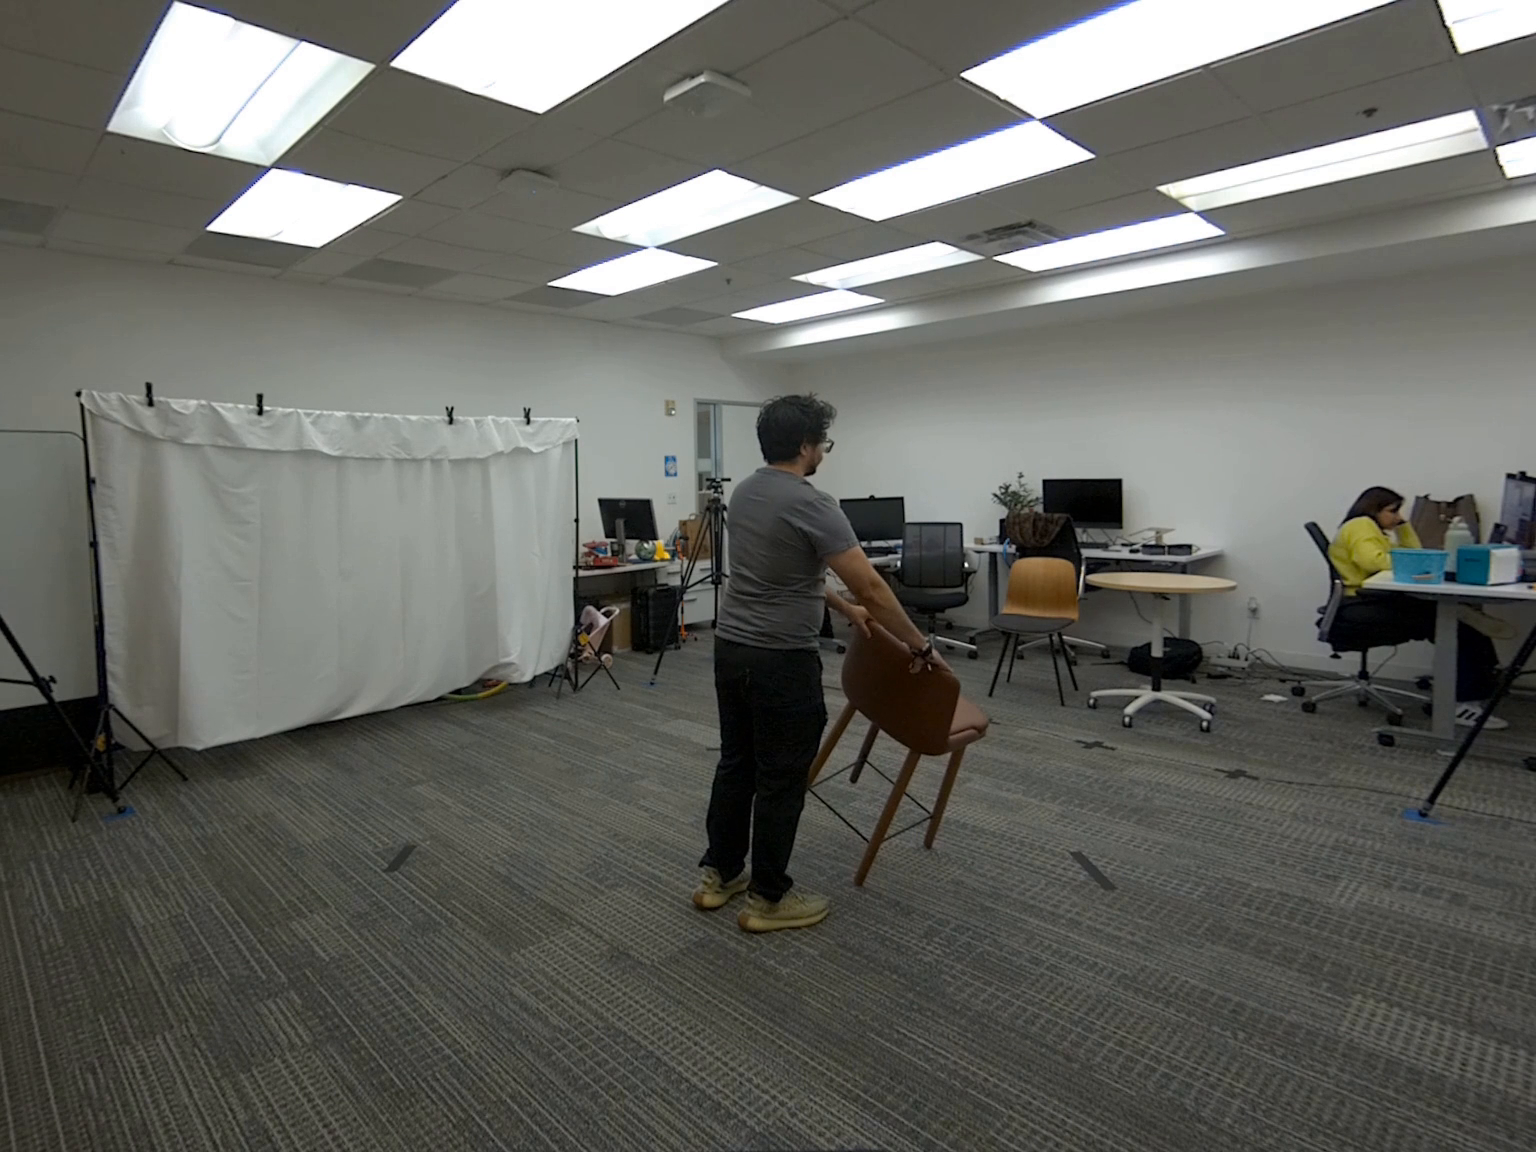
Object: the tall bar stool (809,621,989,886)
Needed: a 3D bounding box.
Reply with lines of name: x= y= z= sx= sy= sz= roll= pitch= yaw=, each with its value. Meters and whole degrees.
tall bar stool: x=0.457 y=0.569 z=3.016 sx=0.456 sy=0.878 sz=0.474 roll=-9 pitch=35 yaw=-45
